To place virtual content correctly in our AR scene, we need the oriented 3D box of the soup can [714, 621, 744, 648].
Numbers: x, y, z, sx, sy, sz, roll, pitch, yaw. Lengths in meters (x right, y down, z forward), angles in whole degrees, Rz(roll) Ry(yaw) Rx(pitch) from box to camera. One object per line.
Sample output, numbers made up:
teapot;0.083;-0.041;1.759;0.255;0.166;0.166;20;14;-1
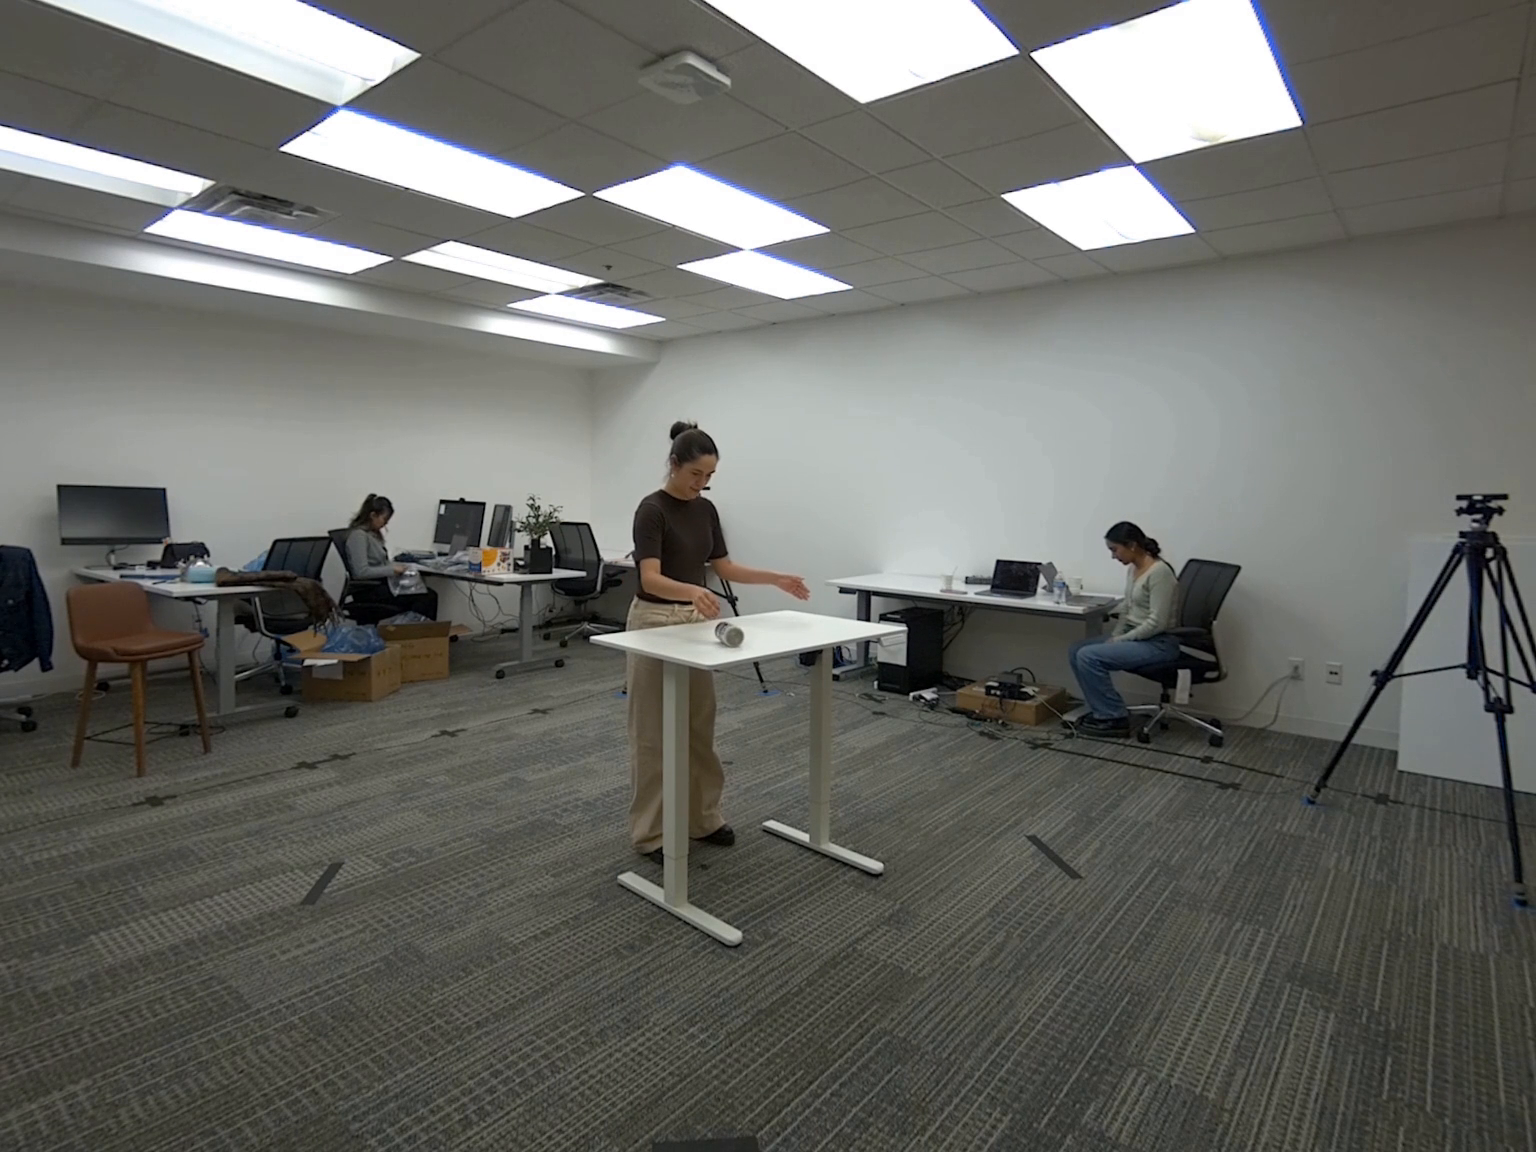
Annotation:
soup can;-0.140;0.189;2.748;0.066;0.067;0.124;0;6;-13
